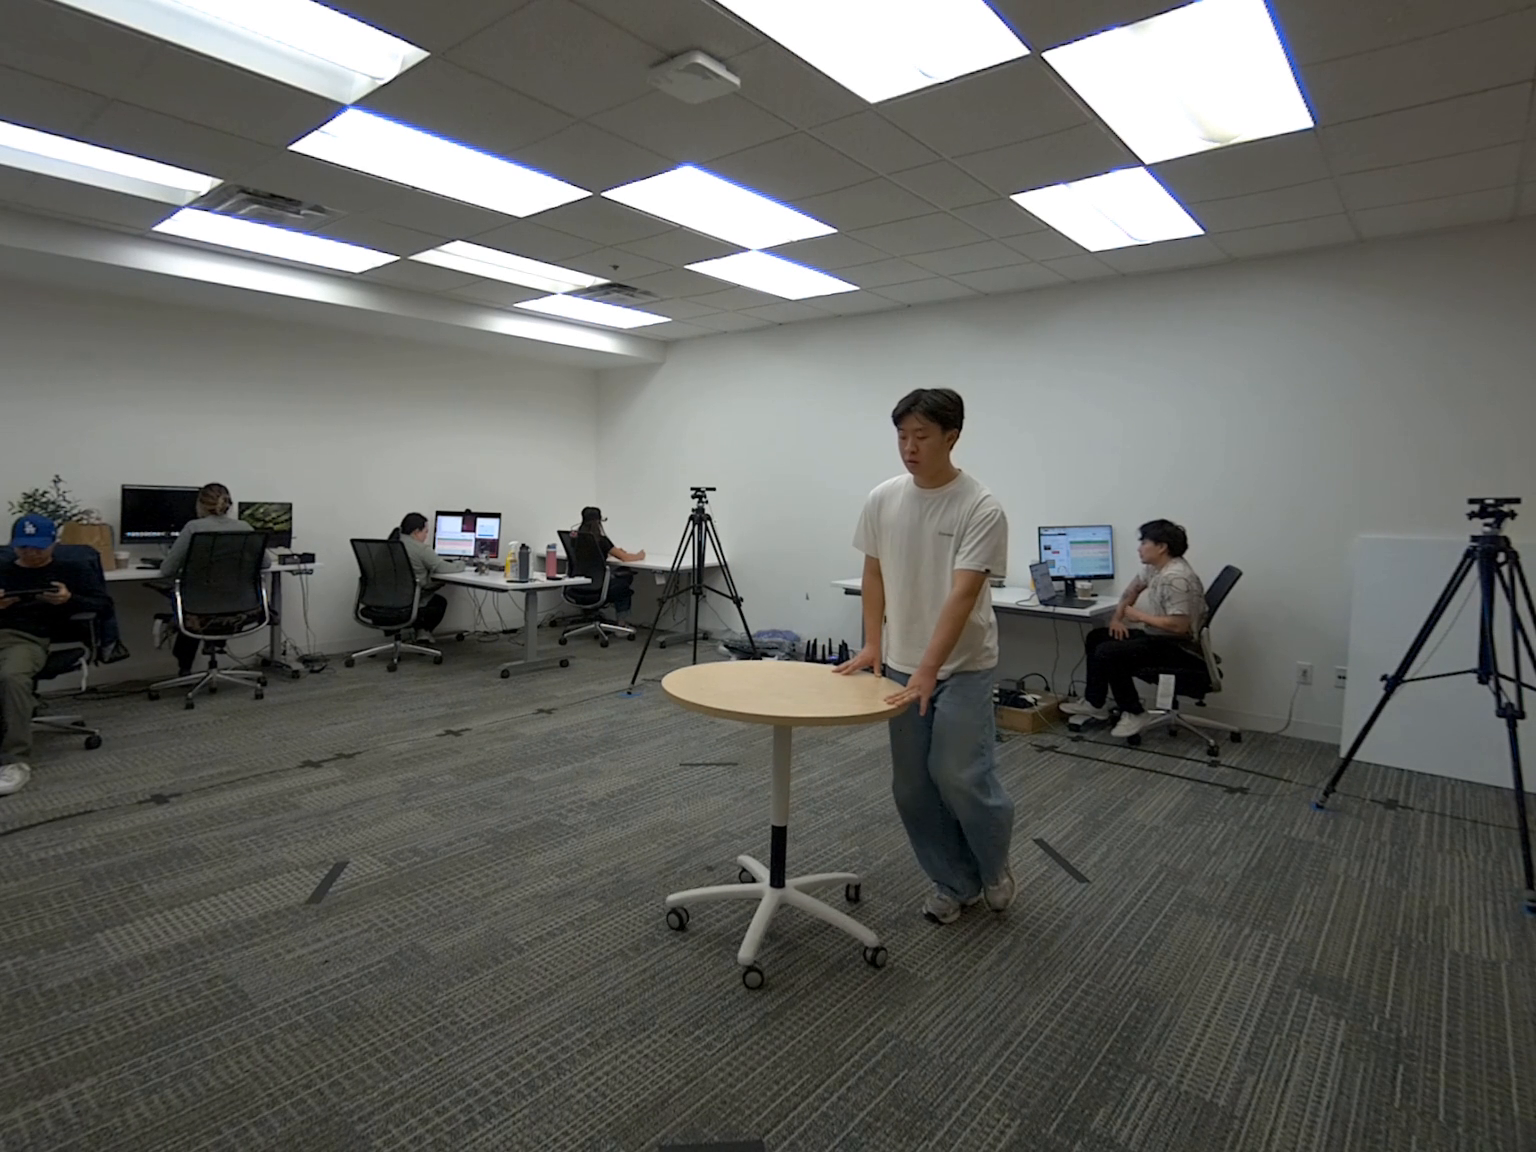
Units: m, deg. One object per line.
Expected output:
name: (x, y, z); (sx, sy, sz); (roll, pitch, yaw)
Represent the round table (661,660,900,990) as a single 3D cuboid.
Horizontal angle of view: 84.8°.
round table: (0.030, 0.727, 2.679); (0.763, 0.791, 0.768); (2, 4, -2)
